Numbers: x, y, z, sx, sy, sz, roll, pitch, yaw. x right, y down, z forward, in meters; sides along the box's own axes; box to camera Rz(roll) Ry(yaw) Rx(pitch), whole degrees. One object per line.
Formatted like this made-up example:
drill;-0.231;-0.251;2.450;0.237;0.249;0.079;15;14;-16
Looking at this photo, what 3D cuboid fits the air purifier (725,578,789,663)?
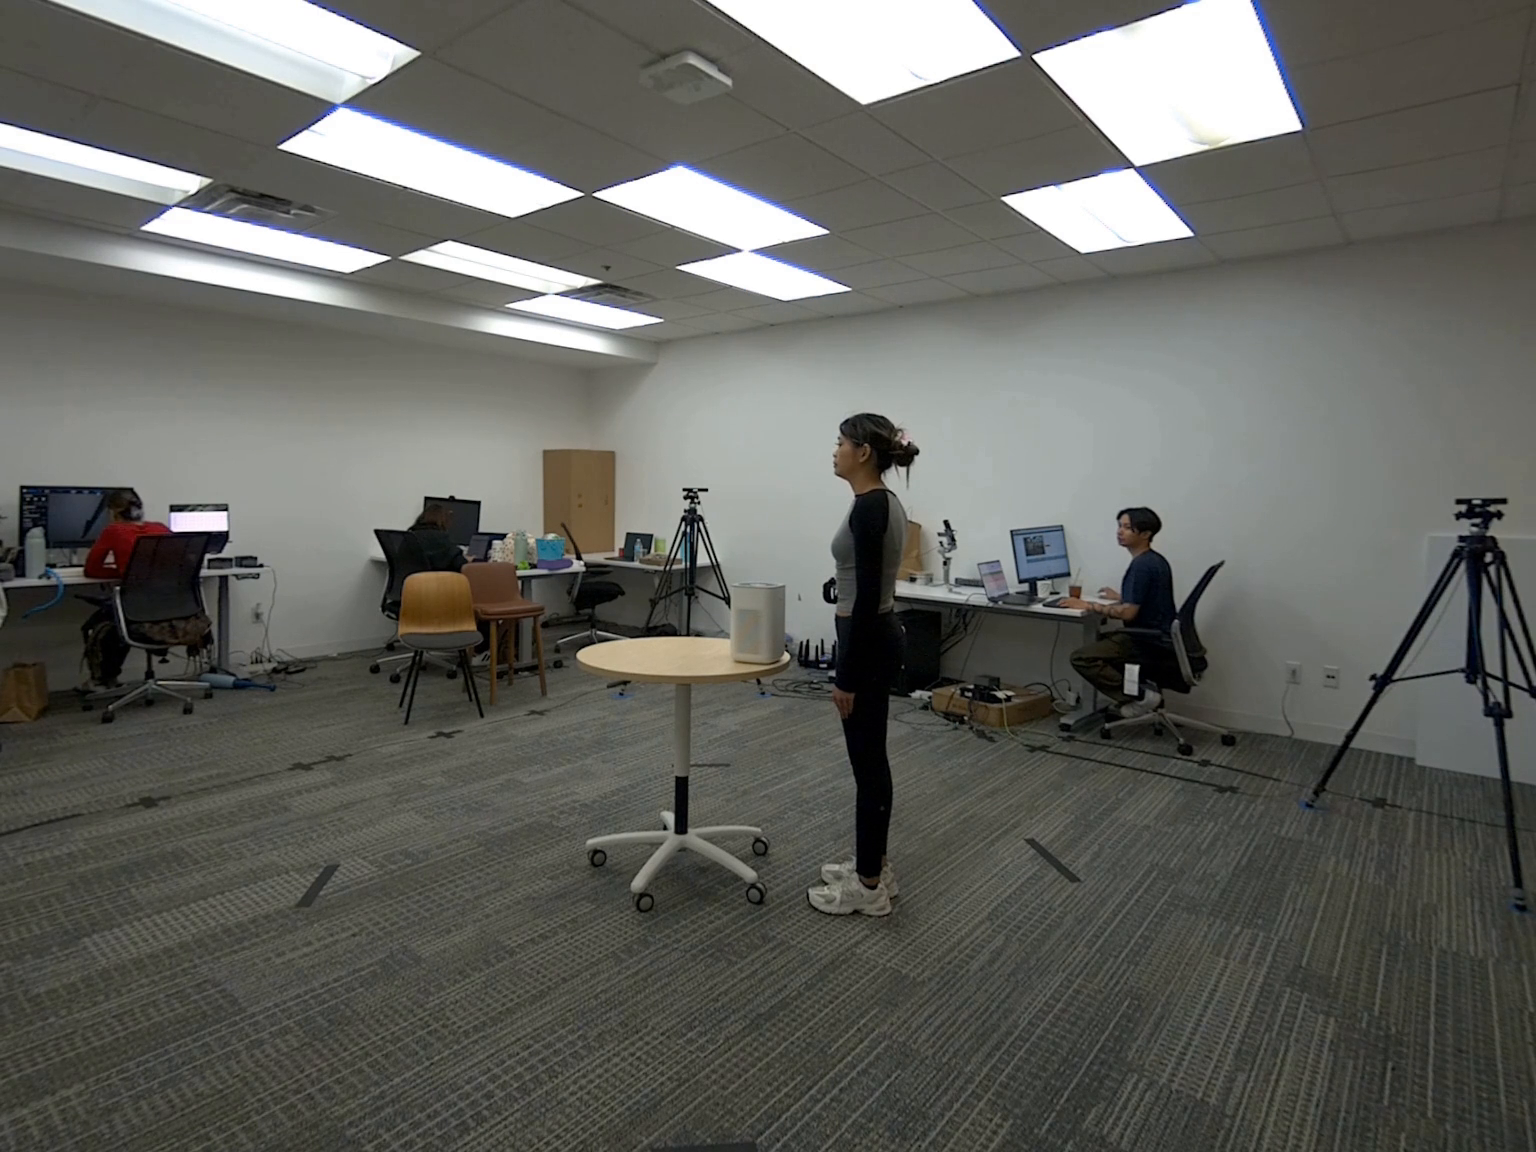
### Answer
air purifier;-0.040;0.151;2.969;0.175;0.265;0.168;1;3;21
